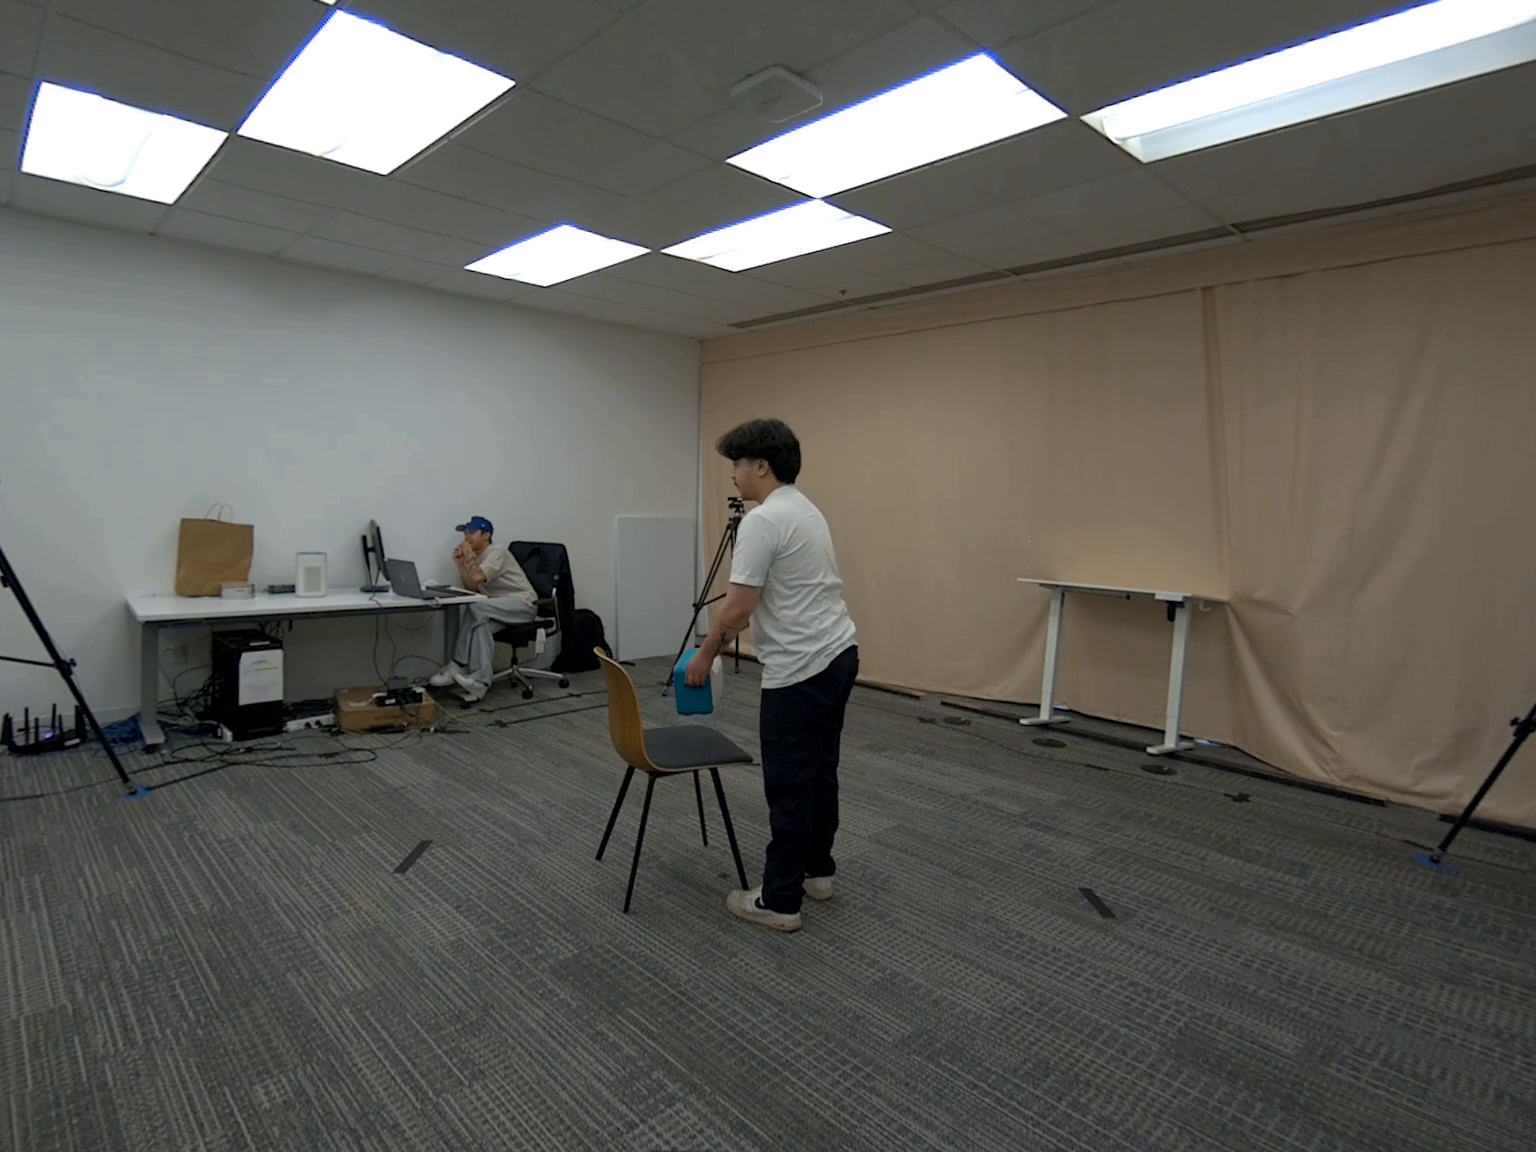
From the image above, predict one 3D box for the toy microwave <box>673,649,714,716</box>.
[{"bbox_3d":[-0.243,0.387,3.058,0.153,0.183,0.287,-3,9,5],"label":"toy microwave"}]
